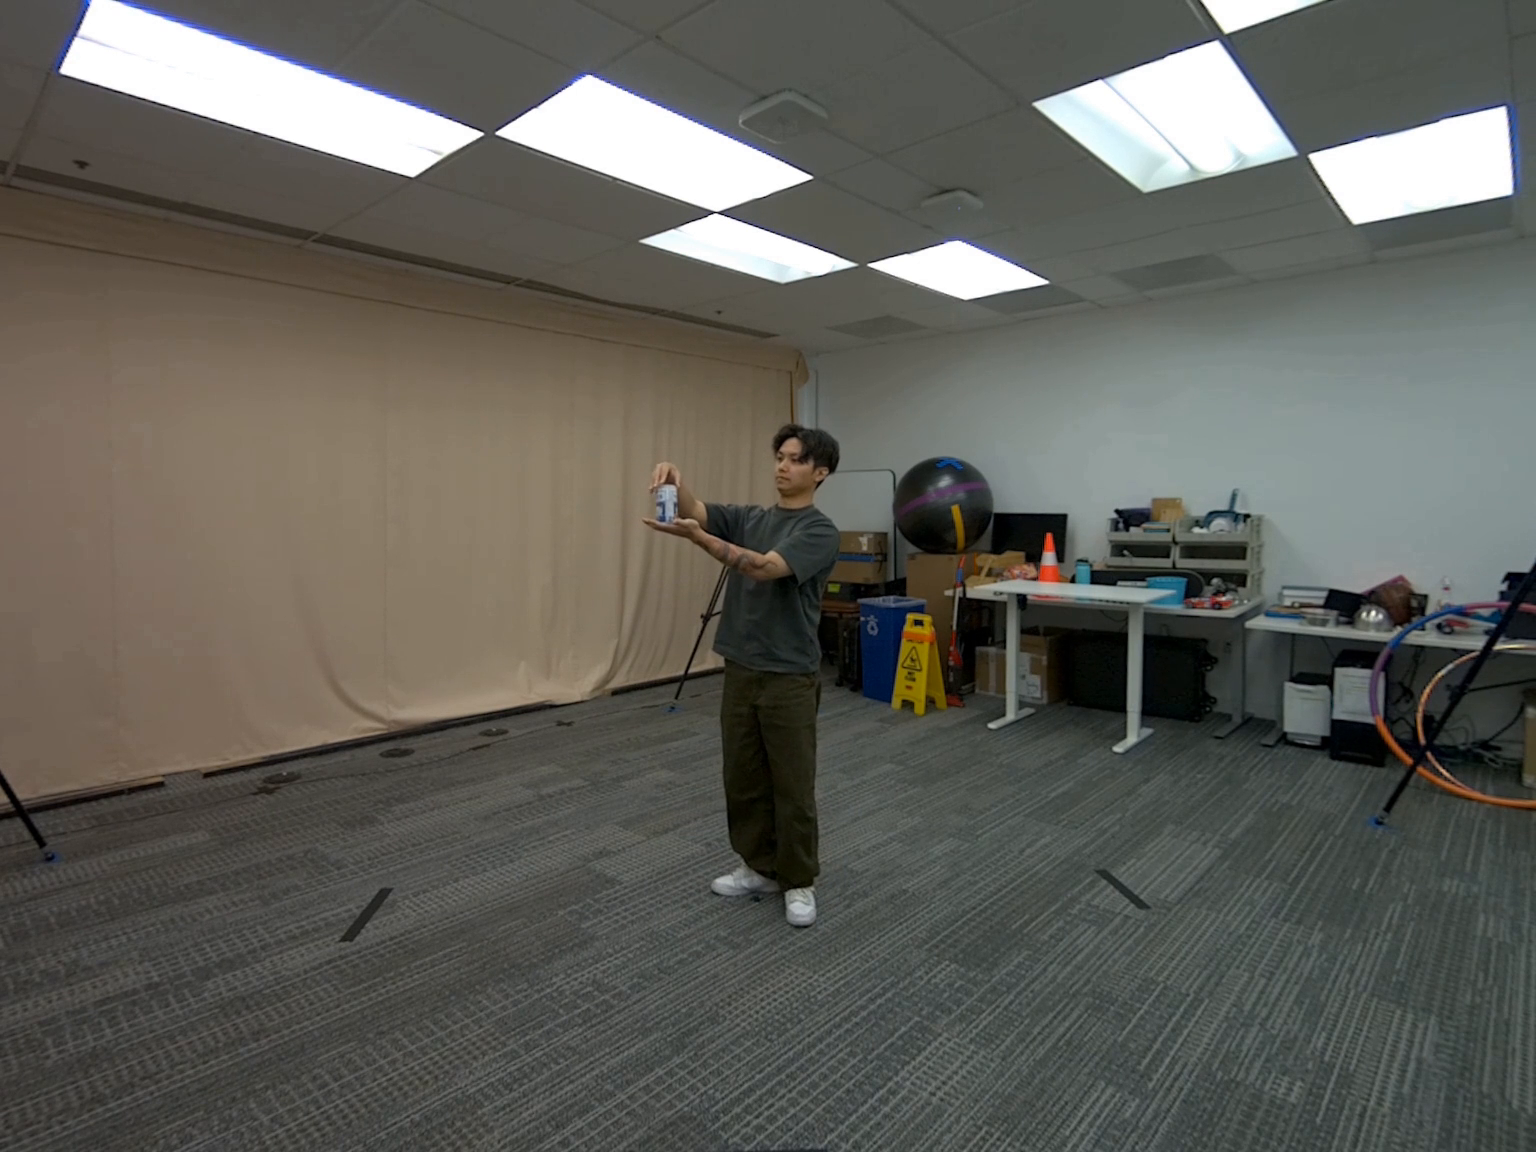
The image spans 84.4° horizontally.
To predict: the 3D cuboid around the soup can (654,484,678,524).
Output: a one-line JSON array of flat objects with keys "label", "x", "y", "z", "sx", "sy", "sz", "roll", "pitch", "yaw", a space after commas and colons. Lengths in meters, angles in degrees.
[{"label": "soup can", "x": -0.313, "y": -0.218, "z": 2.611, "sx": 0.067, "sy": 0.122, "sz": 0.067, "roll": 3, "pitch": -5, "yaw": -2}]
